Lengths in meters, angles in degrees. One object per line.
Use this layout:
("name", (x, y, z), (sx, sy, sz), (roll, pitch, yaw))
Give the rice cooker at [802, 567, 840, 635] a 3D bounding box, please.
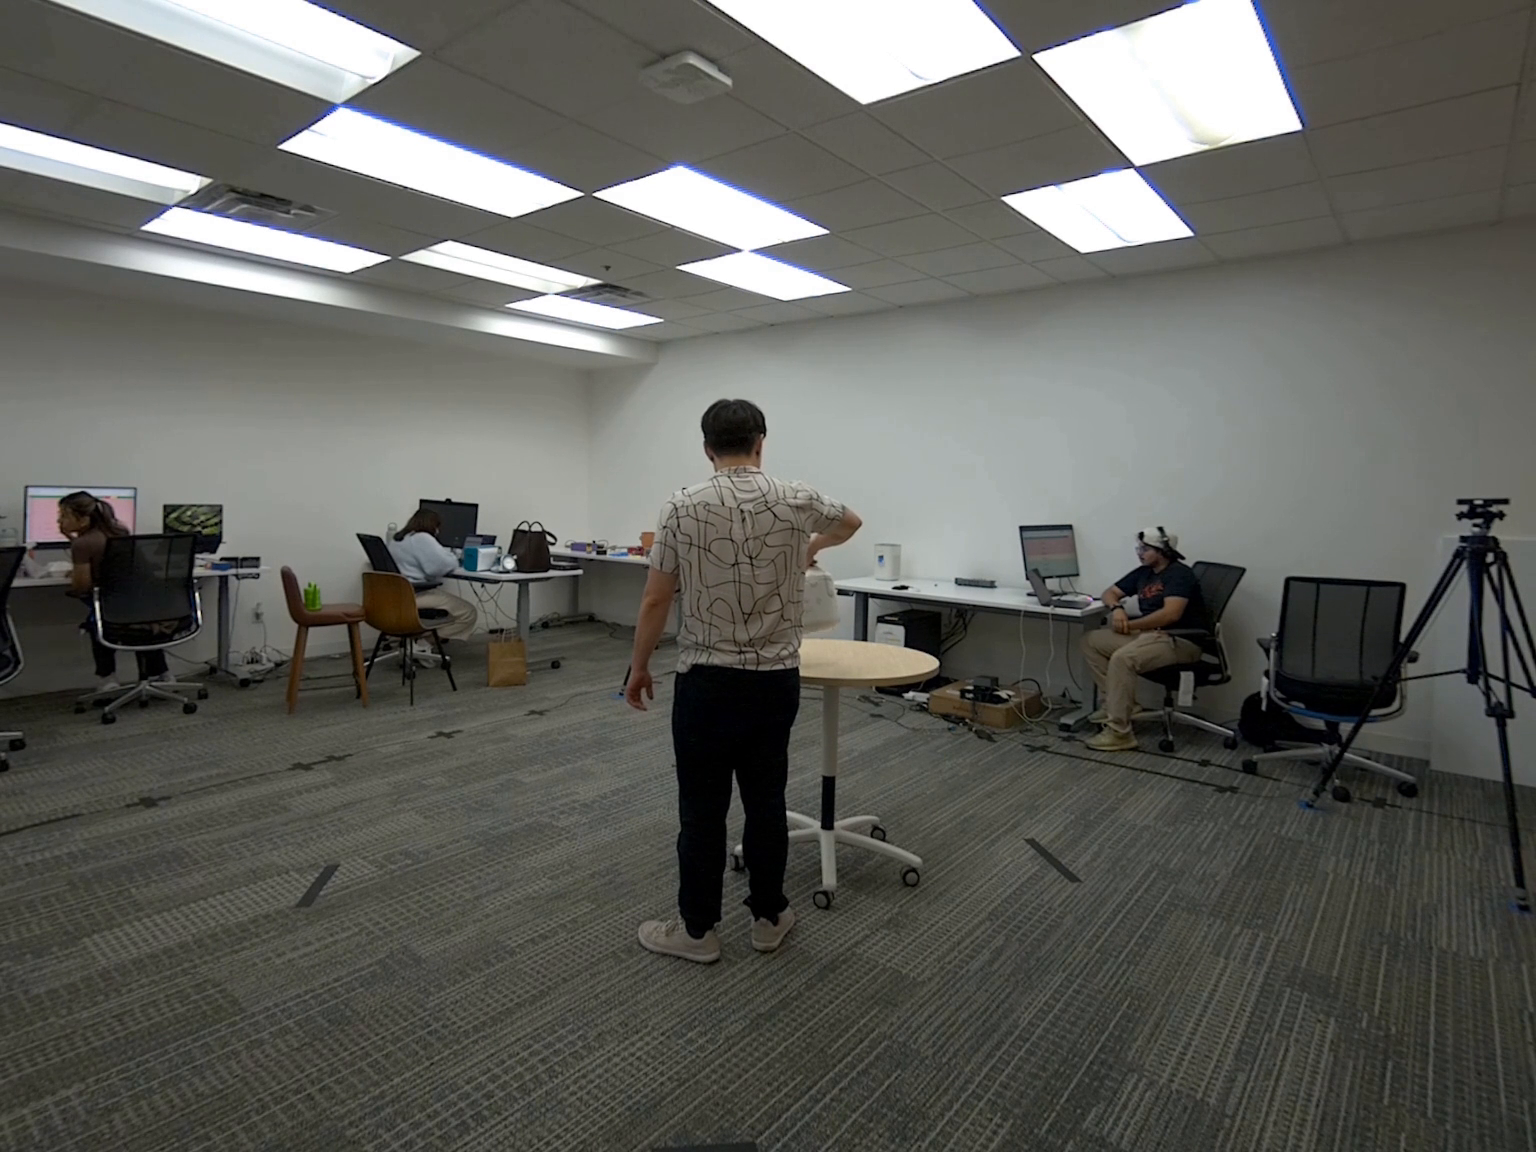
("rice cooker", (0.124, 0.076, 2.989), (0.226, 0.234, 0.211), (-12, -4, 37))
